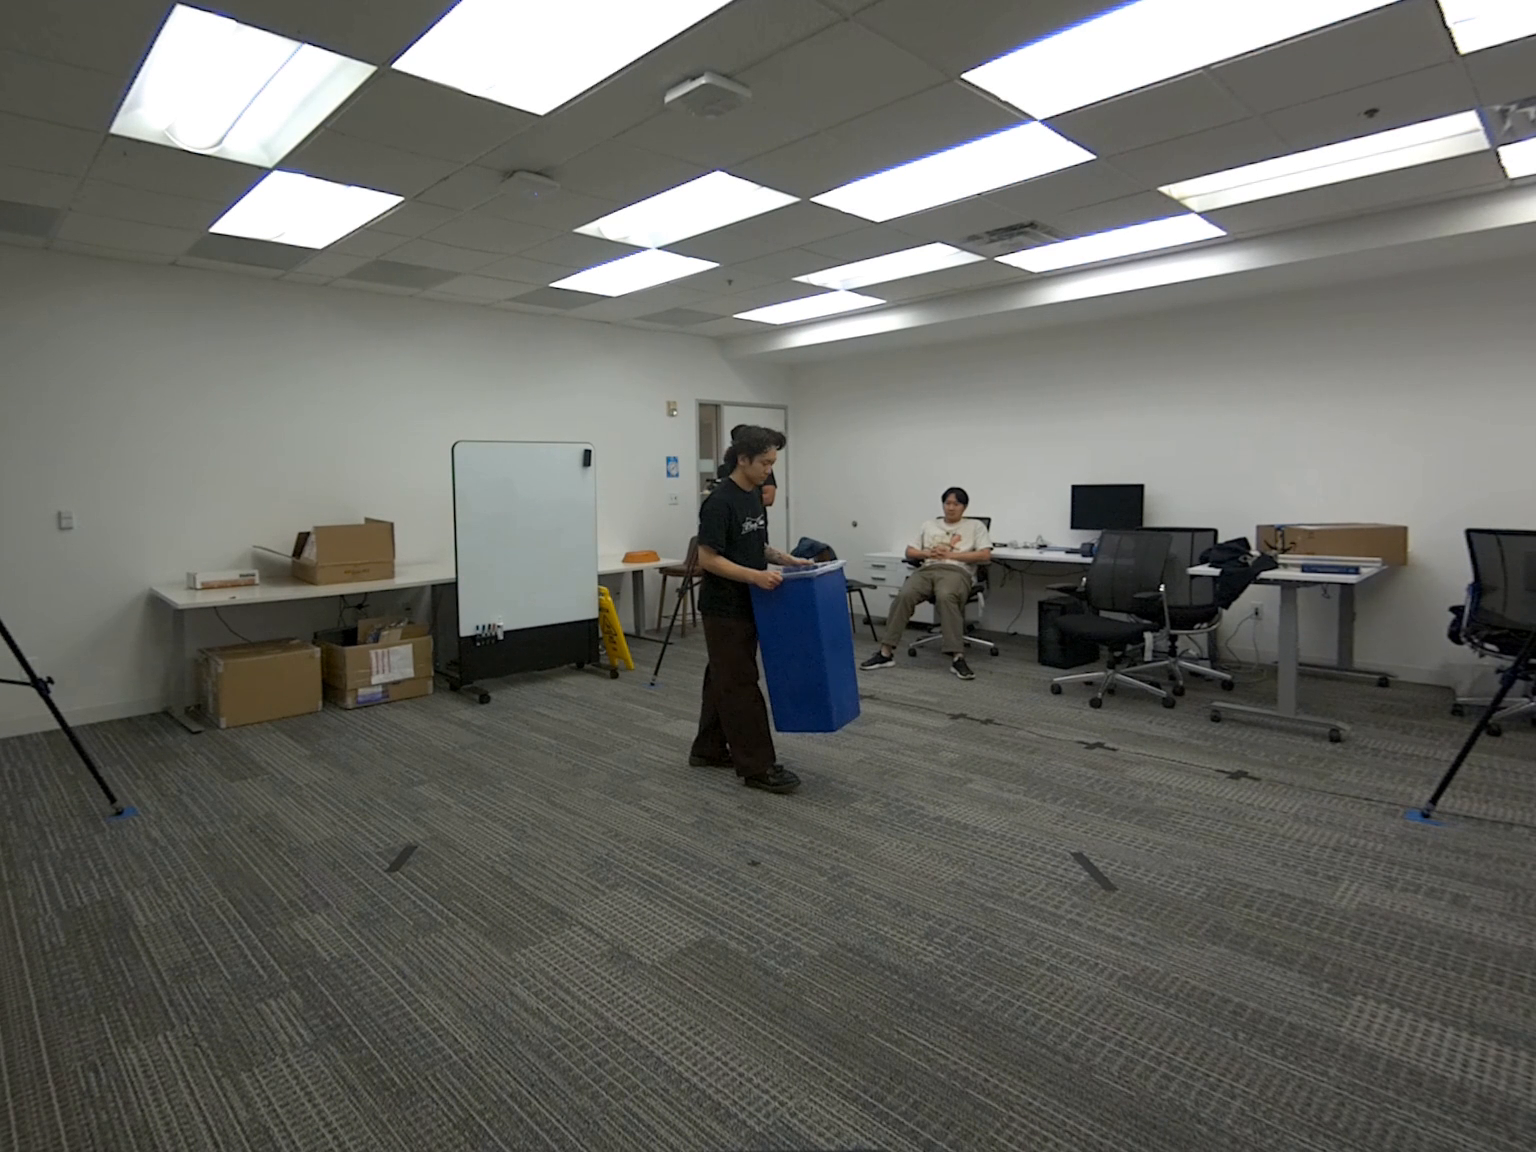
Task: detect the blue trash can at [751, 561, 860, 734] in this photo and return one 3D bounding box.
[{"bbox_3d":[0.179,0.320,3.890,0.386,0.712,0.366,-7,2,29],"label":"blue trash can"}]
